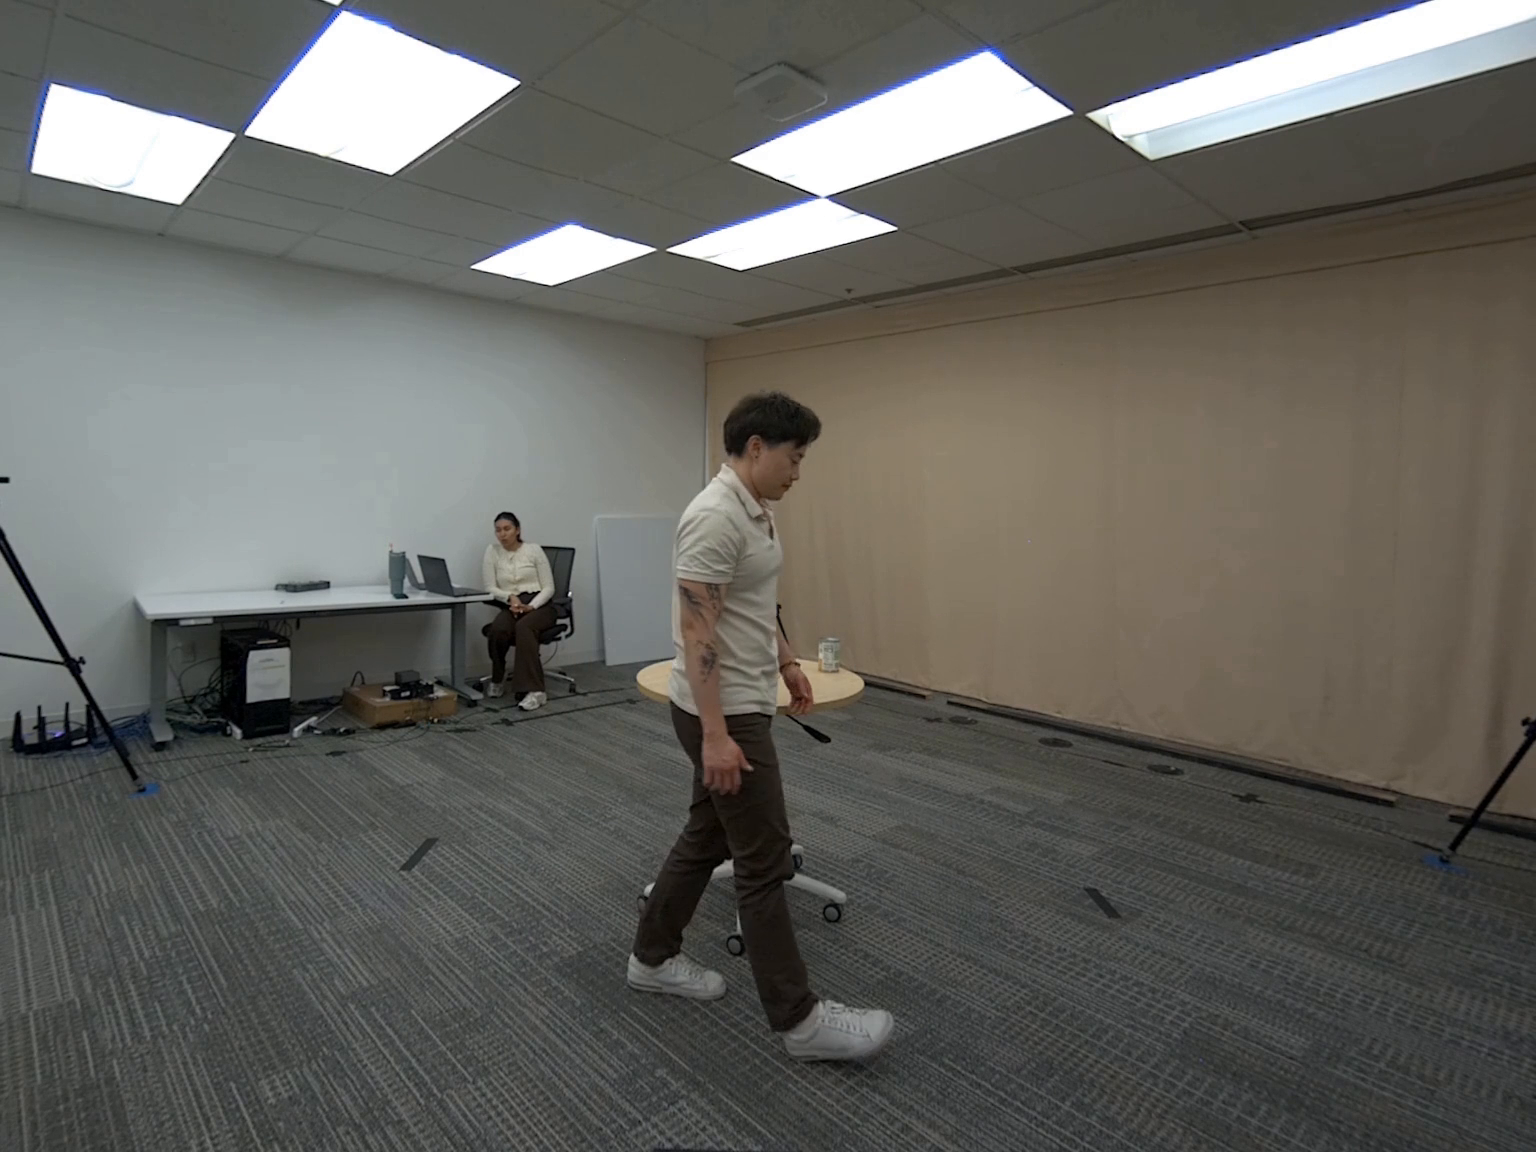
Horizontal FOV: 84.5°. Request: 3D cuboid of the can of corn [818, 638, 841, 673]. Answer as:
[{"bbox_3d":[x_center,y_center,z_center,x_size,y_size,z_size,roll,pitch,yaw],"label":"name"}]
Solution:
[{"bbox_3d":[0.210,0.282,2.984,0.074,0.111,0.074,3,2,-2],"label":"can of corn"}]
